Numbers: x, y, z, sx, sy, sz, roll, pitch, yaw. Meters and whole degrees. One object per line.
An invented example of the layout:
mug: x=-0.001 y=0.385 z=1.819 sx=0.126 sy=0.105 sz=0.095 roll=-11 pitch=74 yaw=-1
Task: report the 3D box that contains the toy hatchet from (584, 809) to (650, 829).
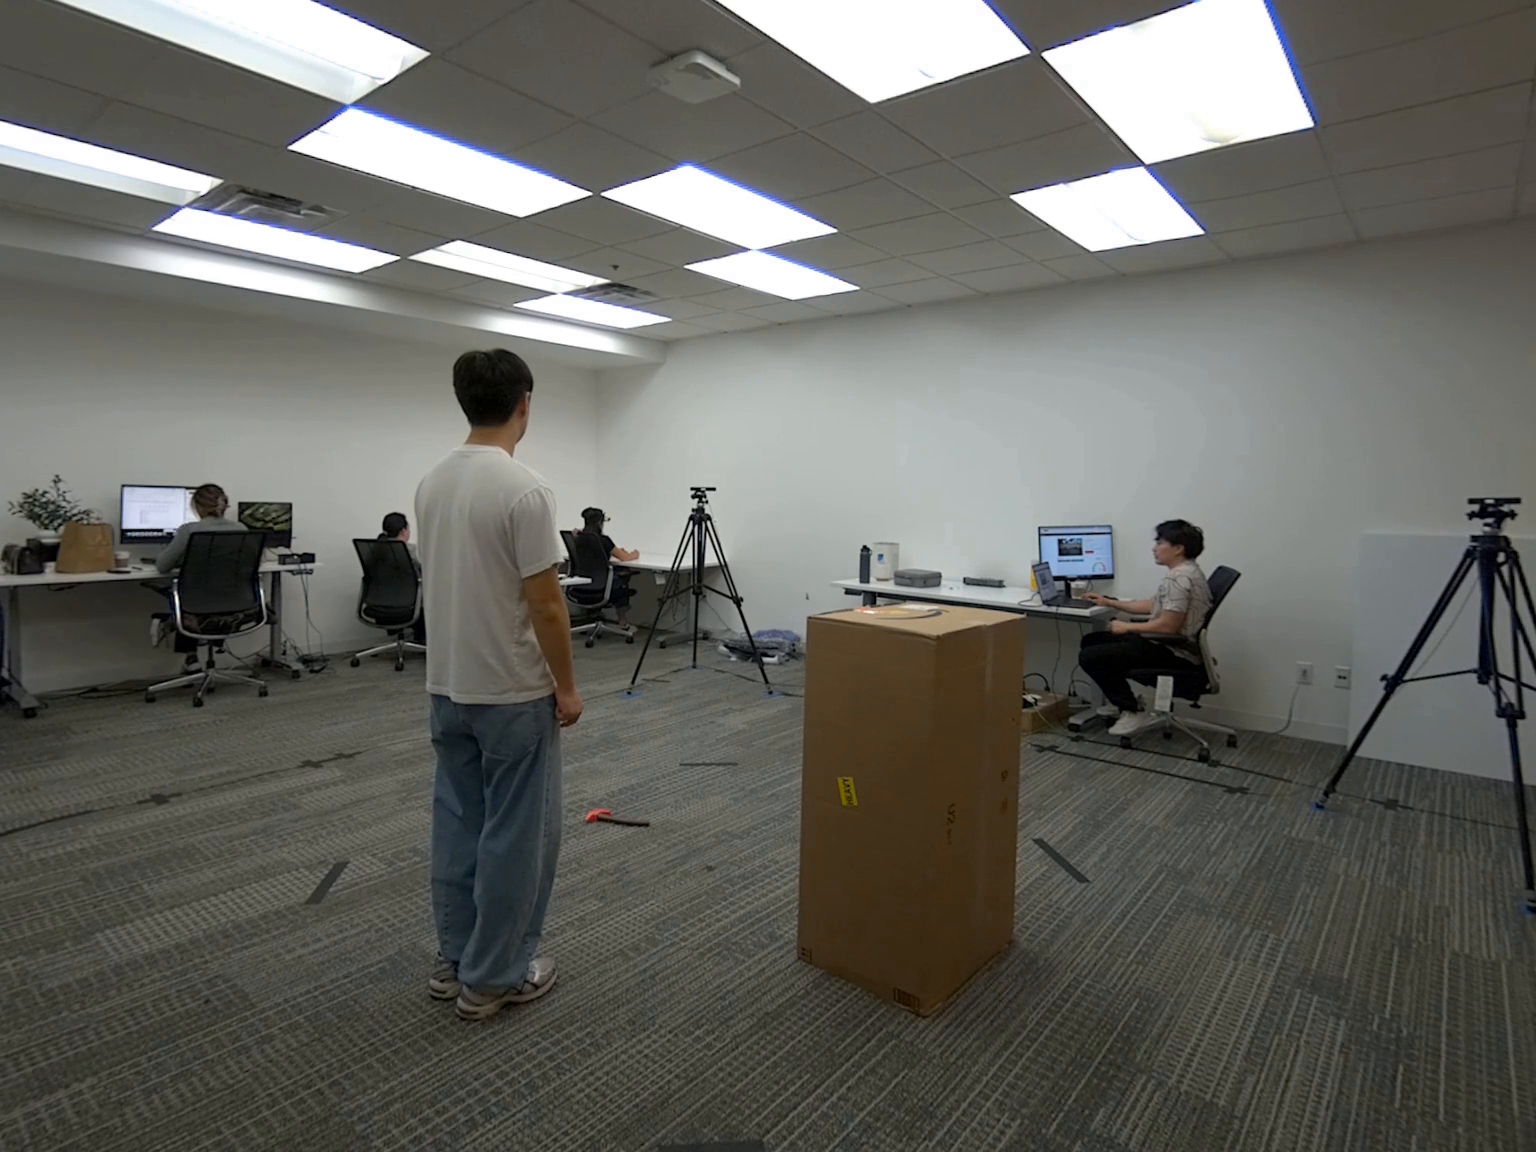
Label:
toy hatchet: x=-0.634 y=1.004 z=3.551 sx=0.271 sy=0.029 sz=0.131 roll=3 pitch=4 yaw=3
